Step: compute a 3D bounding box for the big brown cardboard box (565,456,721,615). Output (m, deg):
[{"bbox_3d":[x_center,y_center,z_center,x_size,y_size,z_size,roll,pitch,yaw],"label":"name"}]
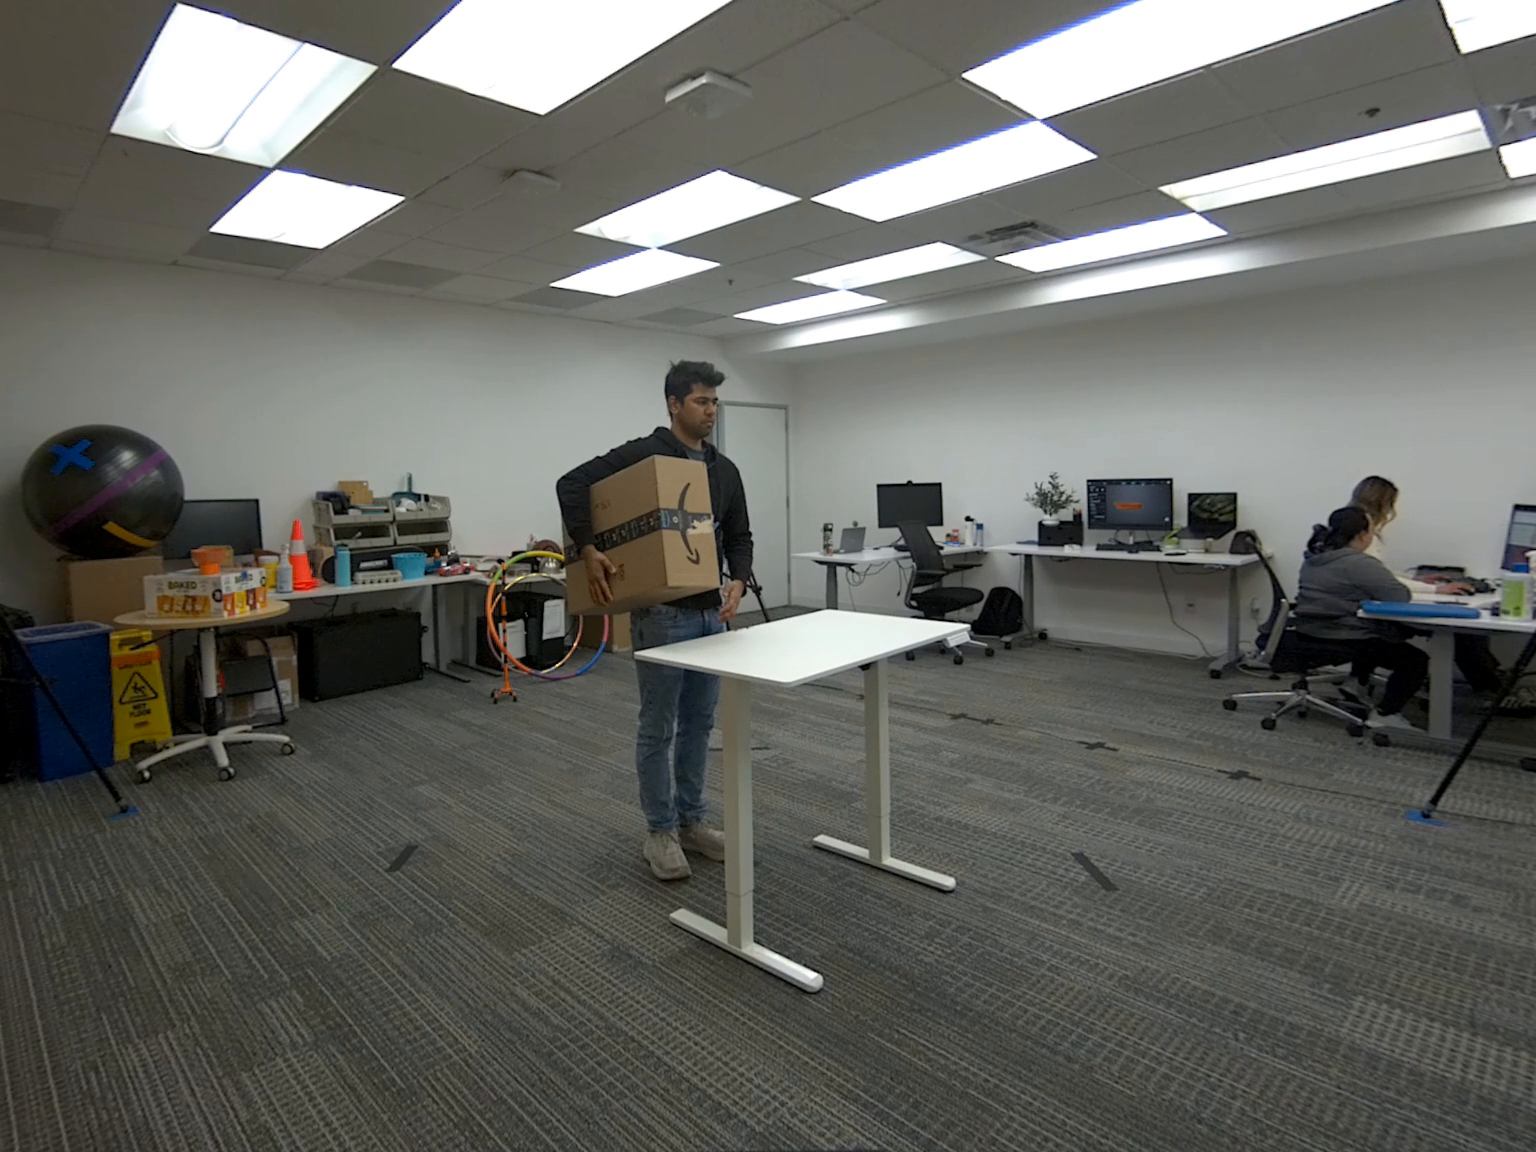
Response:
[{"bbox_3d":[-0.450,-0.110,2.875,0.226,0.422,0.600,2,-13,-42],"label":"big brown cardboard box"}]
